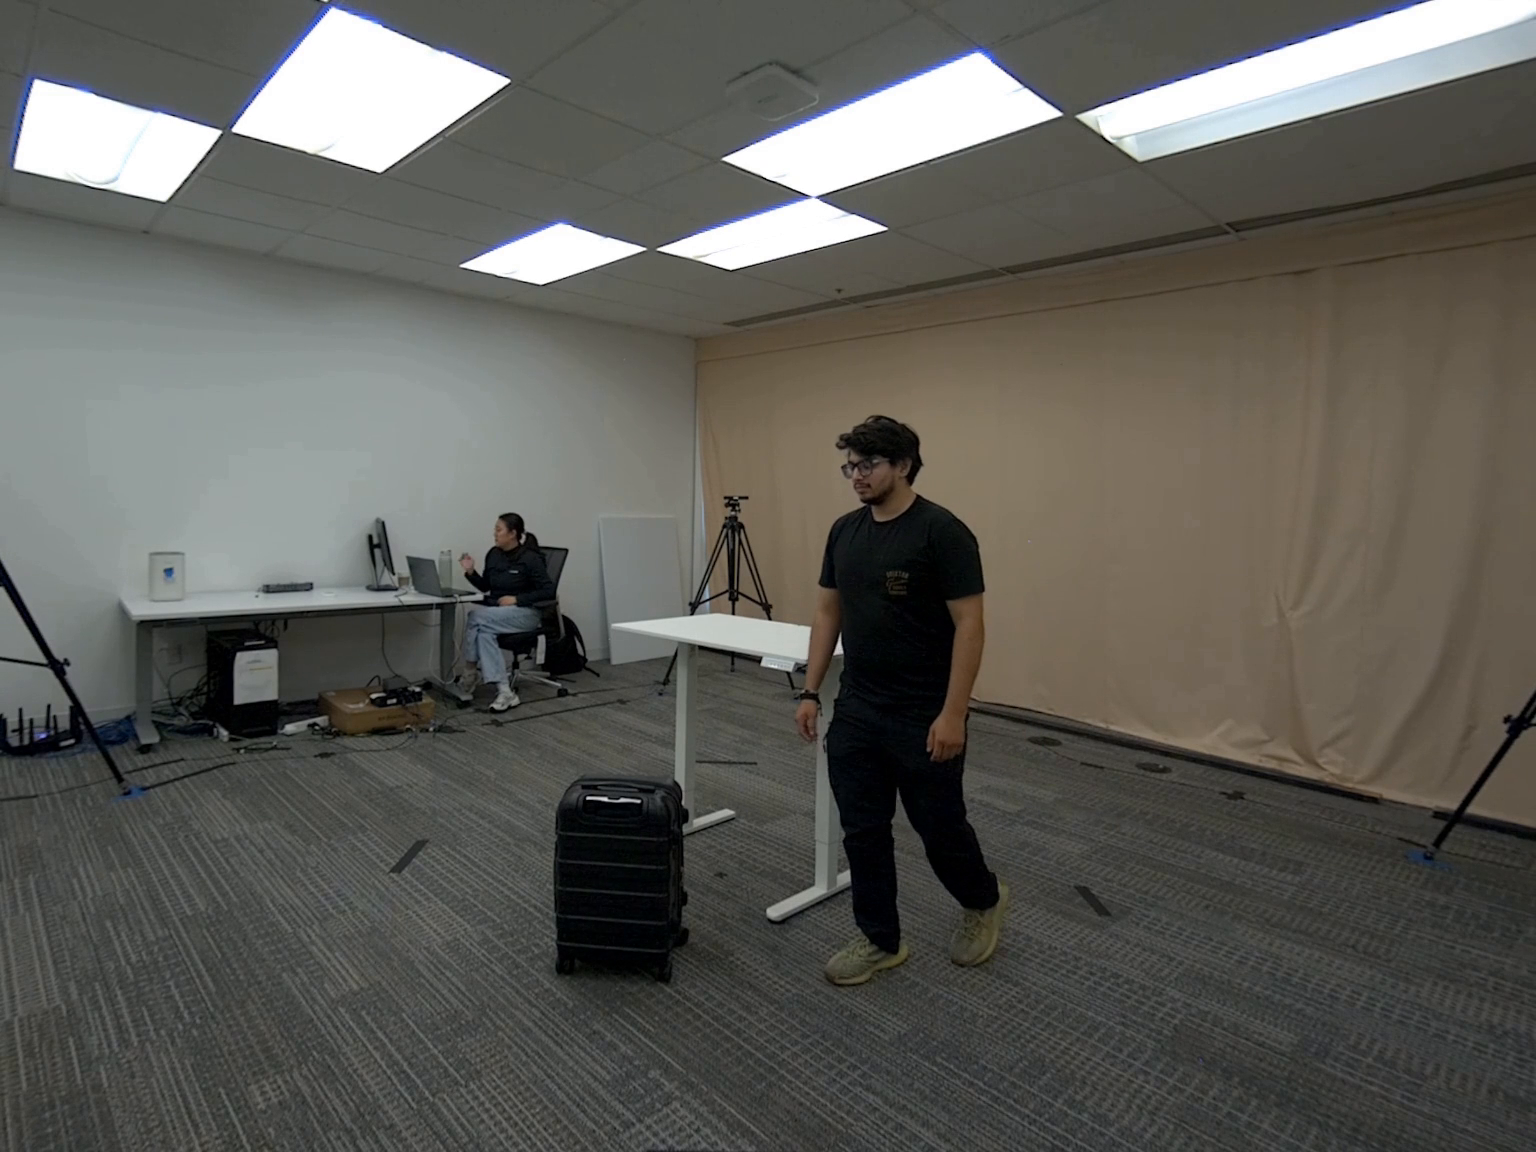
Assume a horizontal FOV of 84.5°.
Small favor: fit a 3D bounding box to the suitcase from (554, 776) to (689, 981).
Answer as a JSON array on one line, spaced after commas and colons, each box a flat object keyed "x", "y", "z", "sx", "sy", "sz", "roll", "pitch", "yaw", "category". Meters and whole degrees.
[{"x": -0.445, "y": 0.883, "z": 2.502, "sx": 0.377, "sy": 0.547, "sz": 0.248, "roll": 1, "pitch": 6, "yaw": 4, "category": "suitcase"}]
